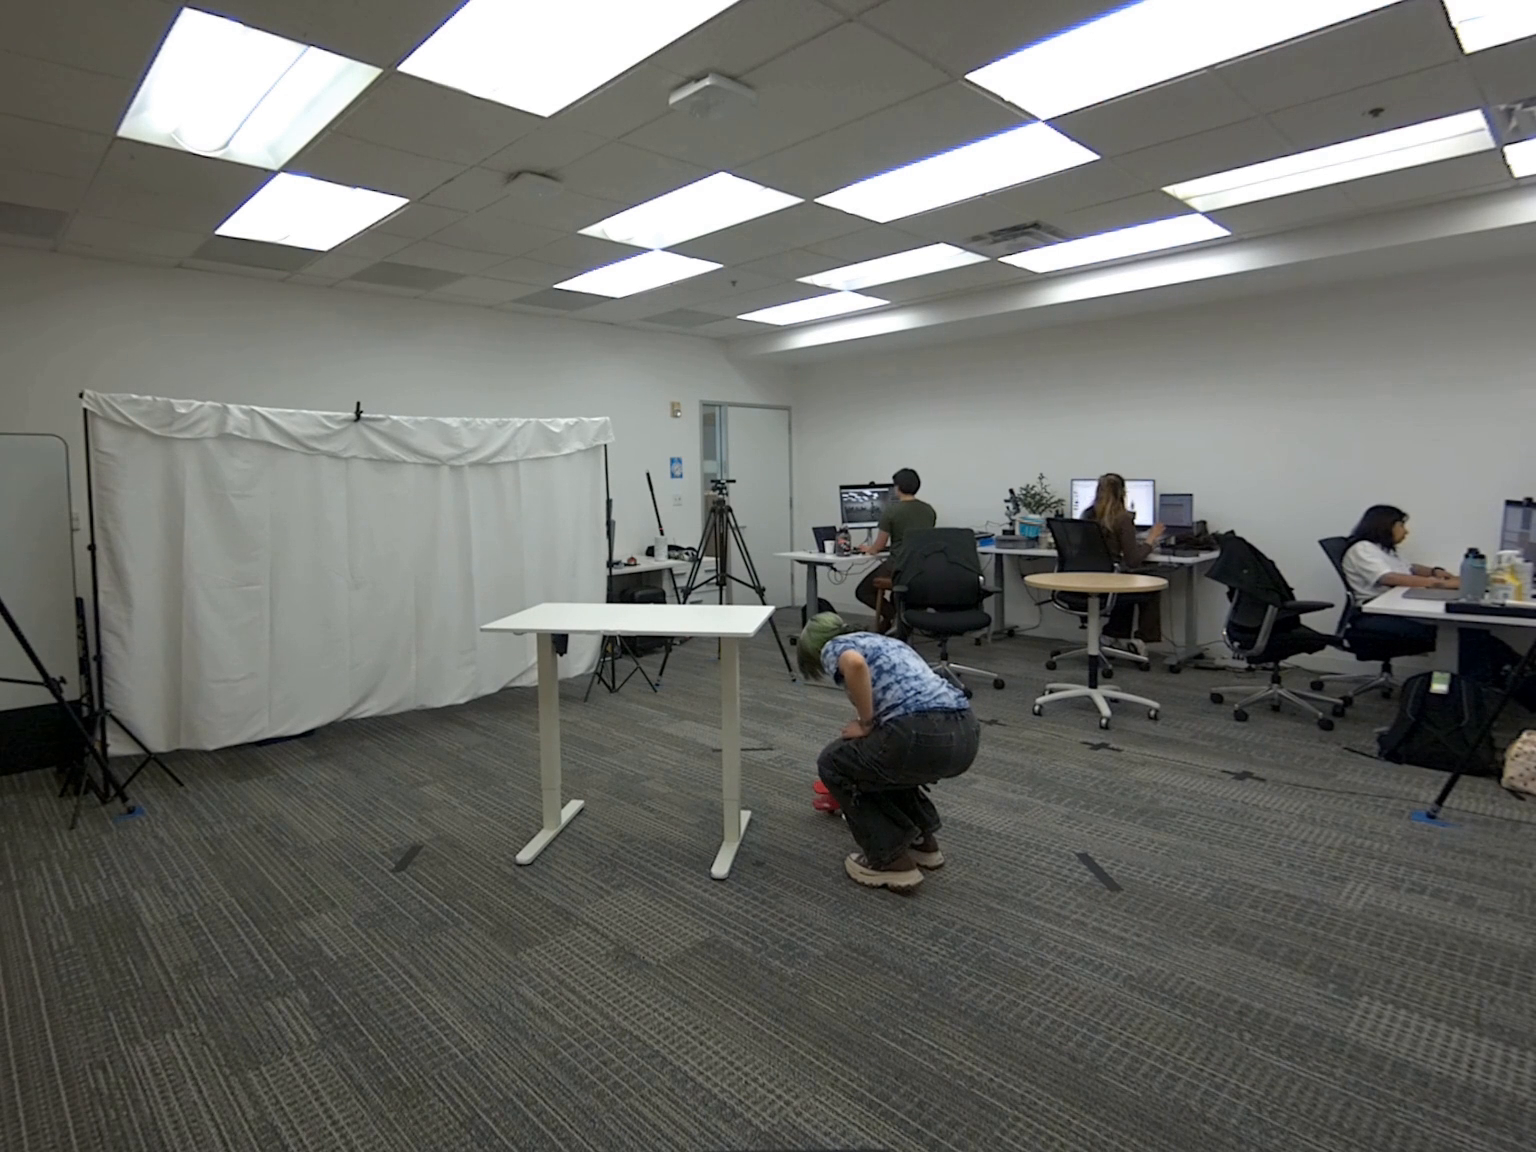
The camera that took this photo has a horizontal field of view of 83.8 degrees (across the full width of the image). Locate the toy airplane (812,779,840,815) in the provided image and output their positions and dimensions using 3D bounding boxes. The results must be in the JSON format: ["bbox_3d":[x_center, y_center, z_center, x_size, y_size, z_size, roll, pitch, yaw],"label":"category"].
[{"bbox_3d":[0.342,0.922,3.508,0.245,0.155,0.267,-9,8,-41],"label":"toy airplane"}]
